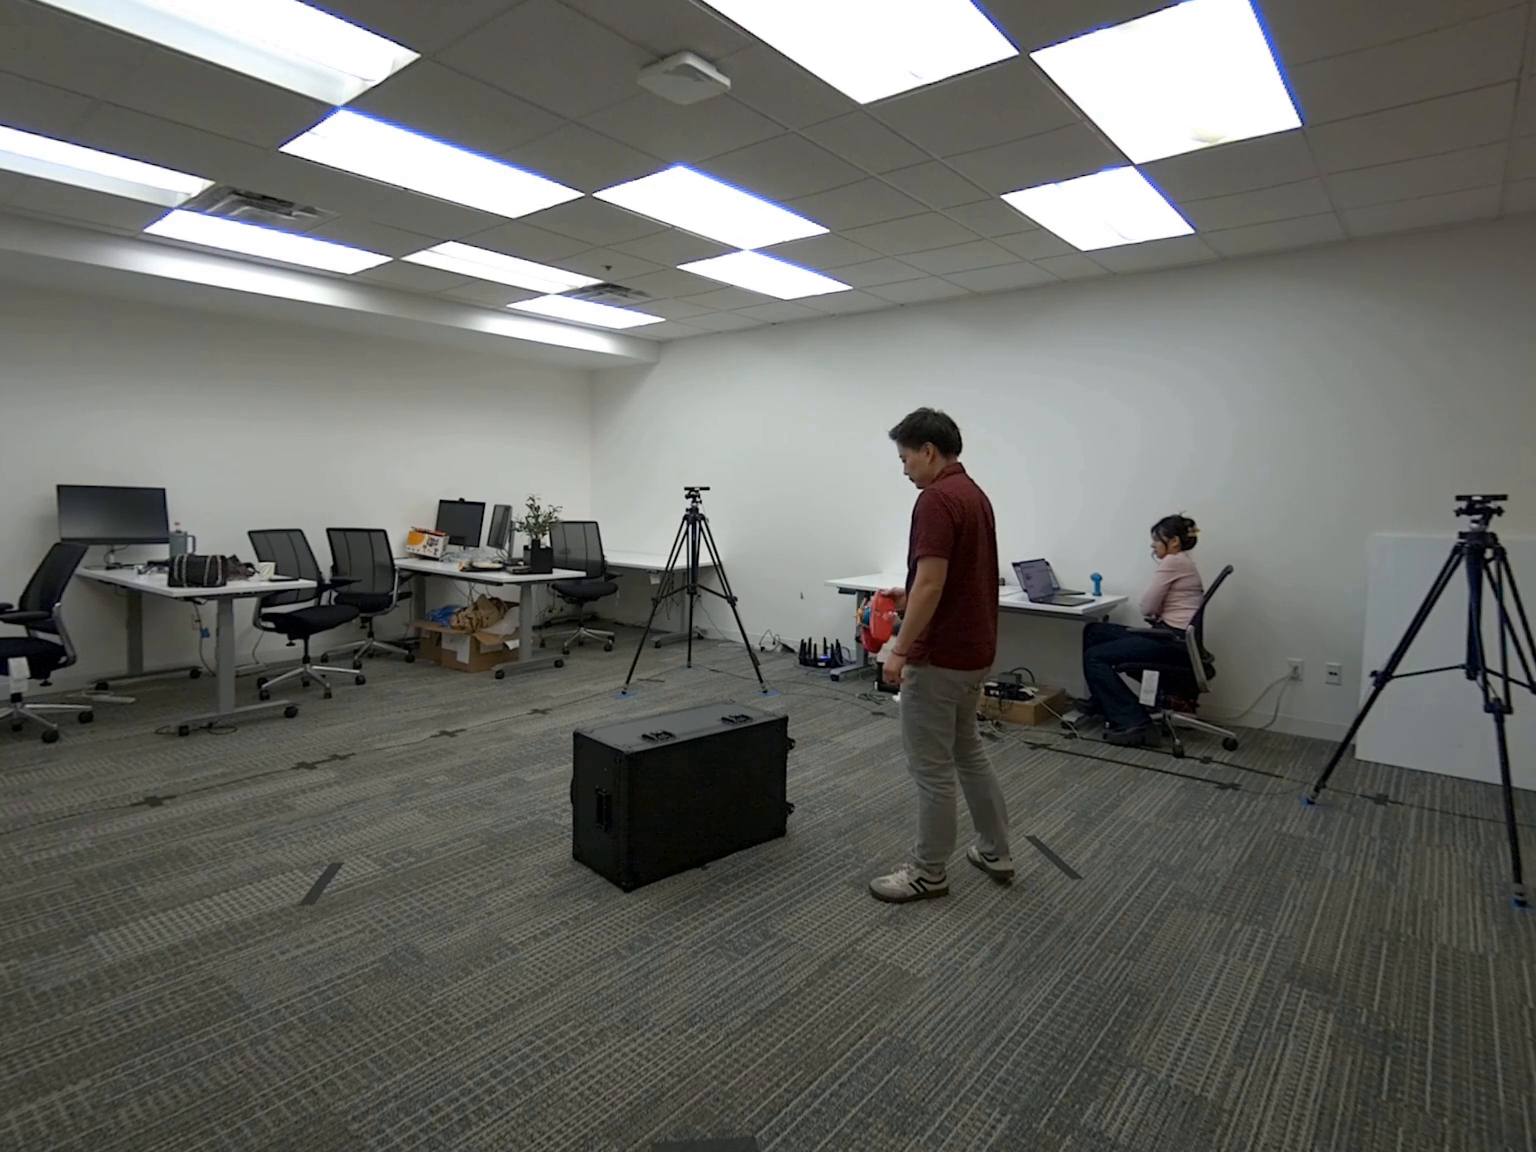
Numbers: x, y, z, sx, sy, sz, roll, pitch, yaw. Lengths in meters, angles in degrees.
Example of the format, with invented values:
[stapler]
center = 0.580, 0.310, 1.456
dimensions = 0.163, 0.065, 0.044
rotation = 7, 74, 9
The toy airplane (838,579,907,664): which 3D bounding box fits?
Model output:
[toy airplane]
center = 0.465, 0.179, 3.375
dimensions = 0.255, 0.261, 0.153
rotation = -10, -38, -18
